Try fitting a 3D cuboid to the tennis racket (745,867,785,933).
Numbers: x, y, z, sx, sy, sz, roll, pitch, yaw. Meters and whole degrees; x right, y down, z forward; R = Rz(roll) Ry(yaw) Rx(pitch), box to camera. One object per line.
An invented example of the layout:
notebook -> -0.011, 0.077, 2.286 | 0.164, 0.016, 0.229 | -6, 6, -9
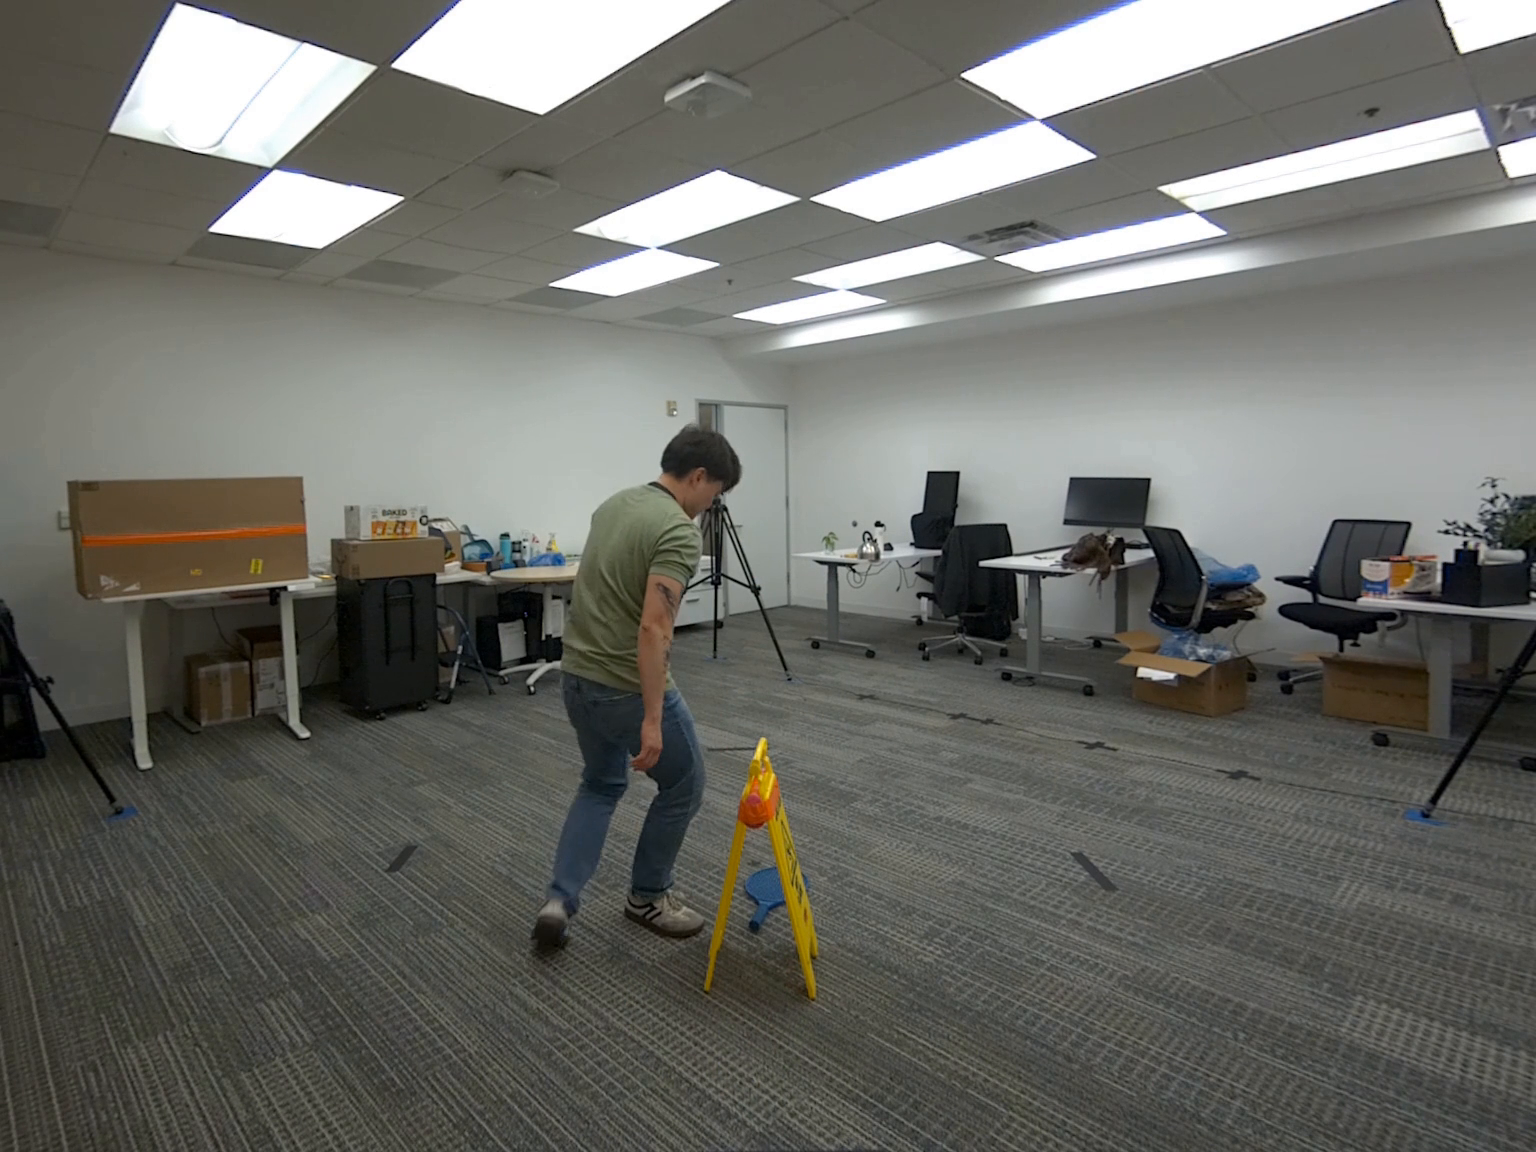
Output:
tennis racket -> 0.010, 1.055, 2.846 | 0.217, 0.031, 0.427 | 1, 5, 15
